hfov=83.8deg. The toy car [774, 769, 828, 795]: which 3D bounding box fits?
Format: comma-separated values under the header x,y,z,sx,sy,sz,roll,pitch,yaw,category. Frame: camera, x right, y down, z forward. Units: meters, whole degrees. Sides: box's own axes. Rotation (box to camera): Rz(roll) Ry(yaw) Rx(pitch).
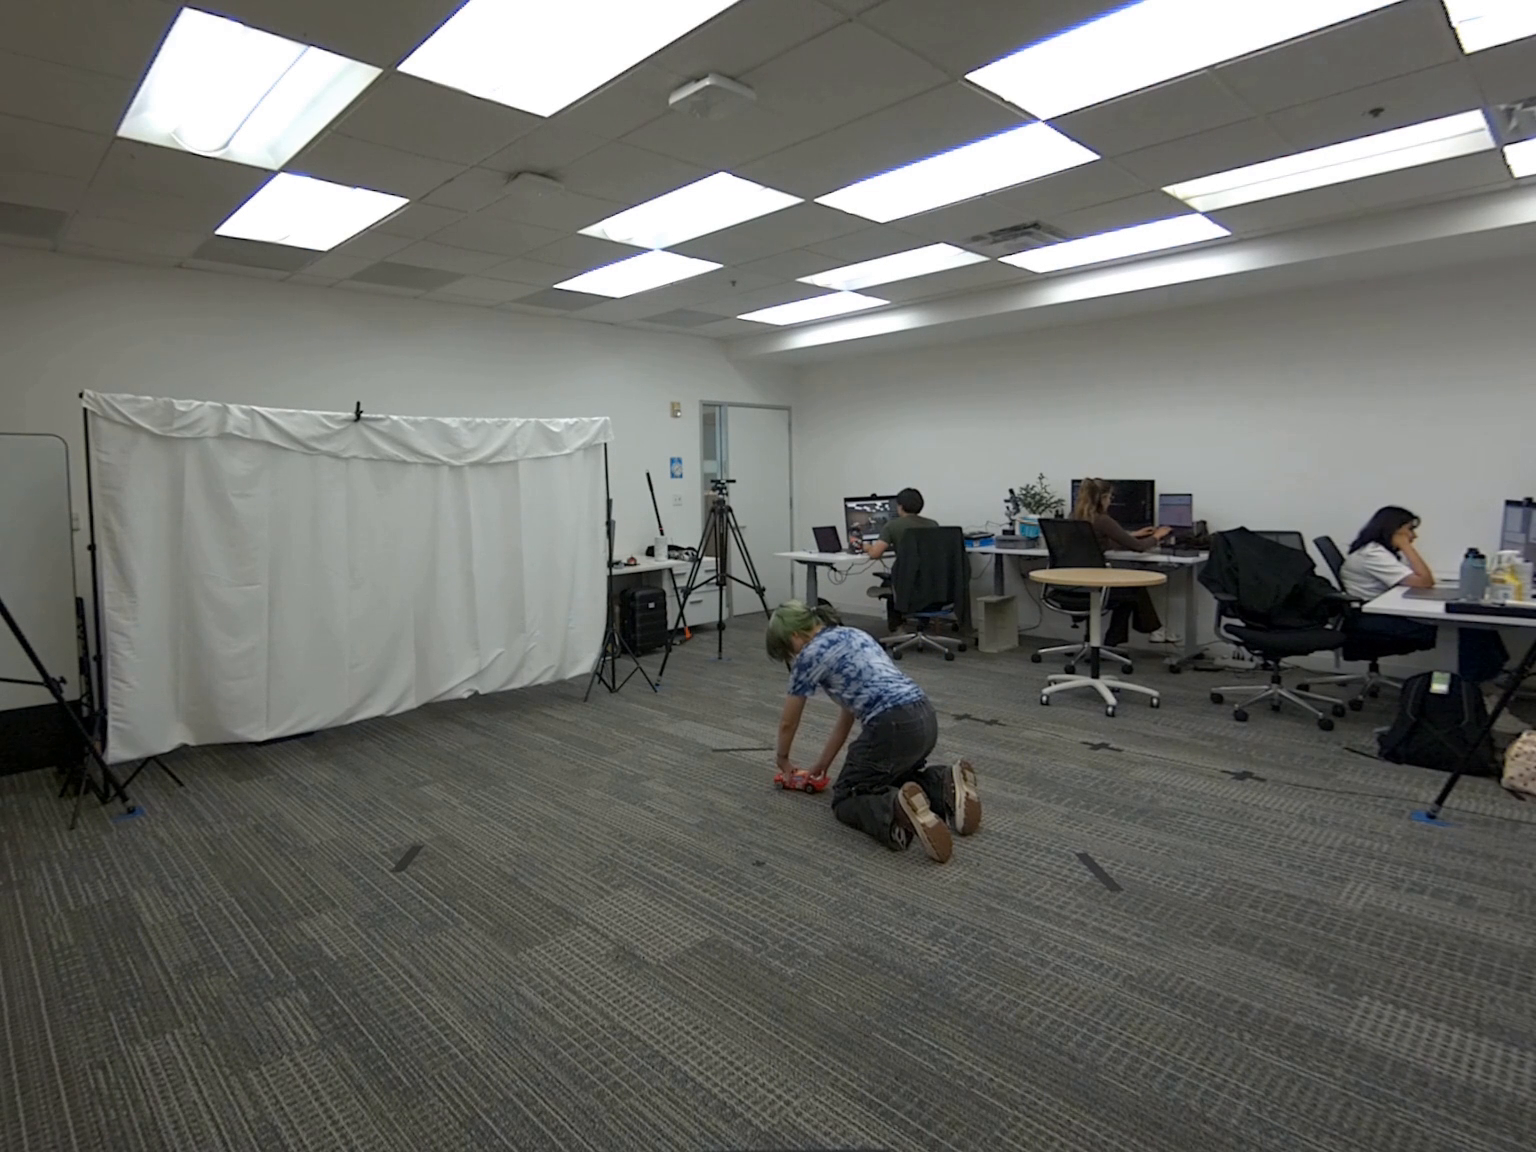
x,y,z,sx,sy,sz,roll,pitch,yaw,category
0.158,0.933,3.868,0.259,0.083,0.128,-10,0,23,toy car
